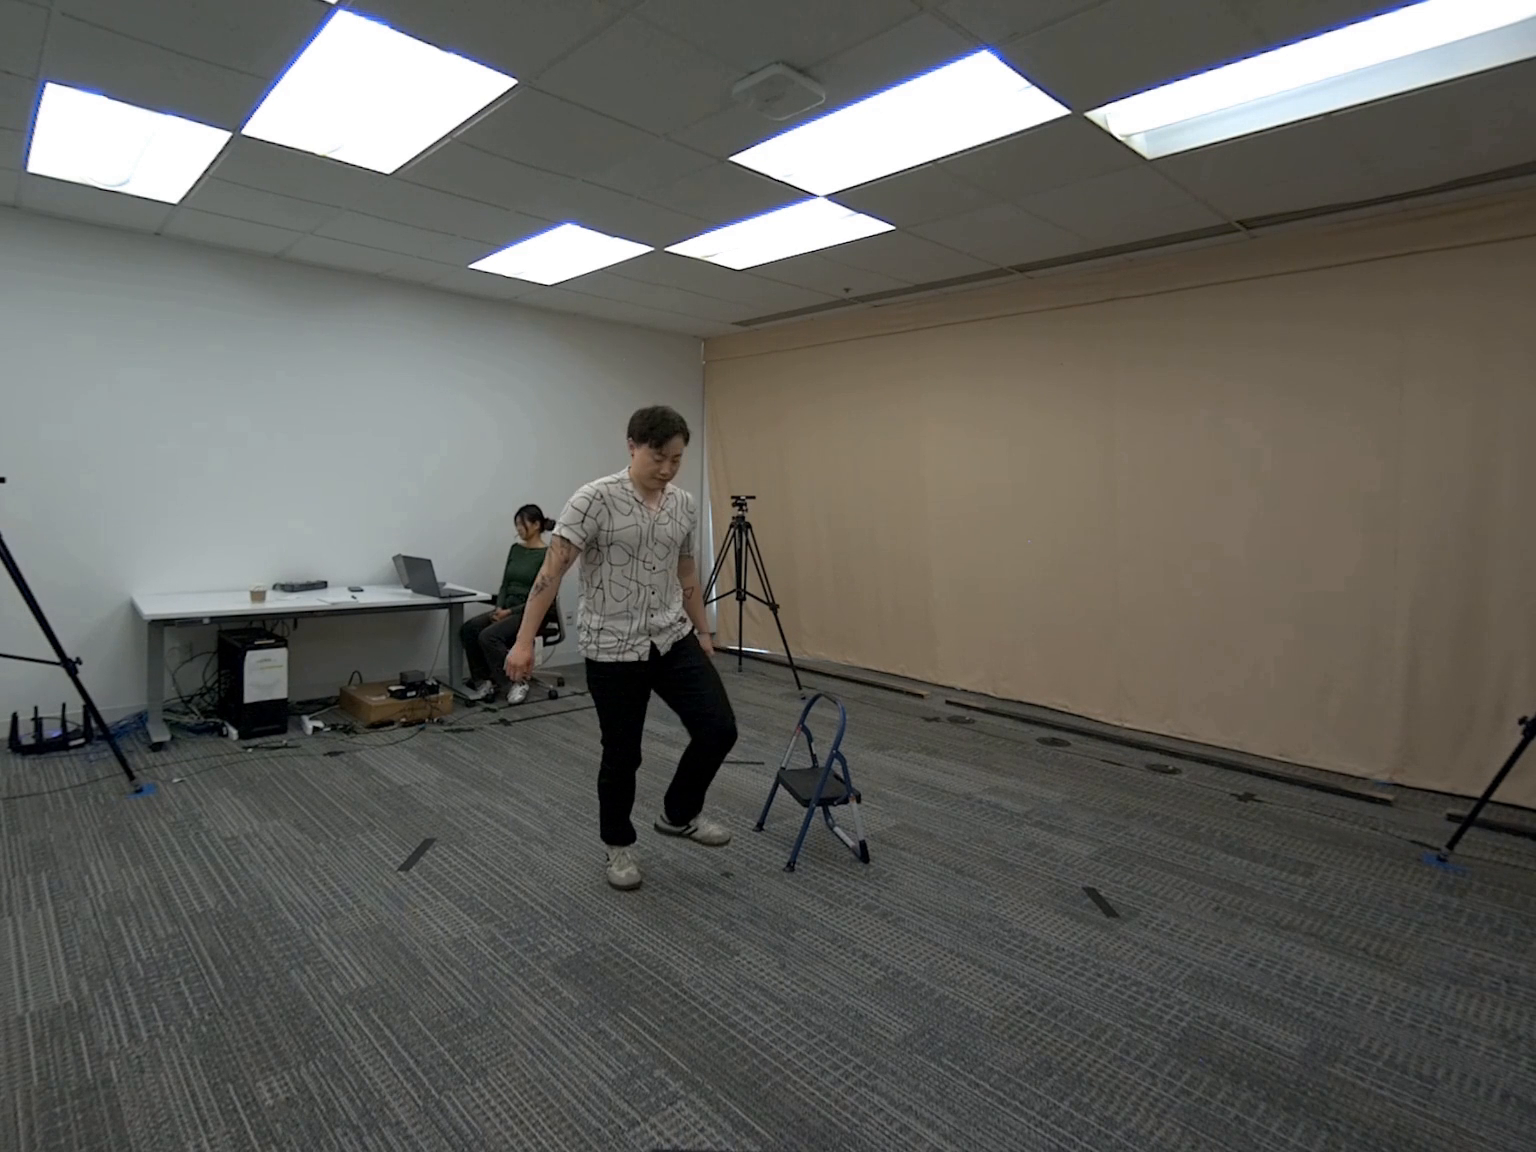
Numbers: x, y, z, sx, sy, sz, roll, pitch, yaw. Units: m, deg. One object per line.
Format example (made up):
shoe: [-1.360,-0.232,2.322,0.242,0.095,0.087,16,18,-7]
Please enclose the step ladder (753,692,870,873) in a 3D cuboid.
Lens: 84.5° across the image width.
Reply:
step ladder: [0.171,0.783,3.365,0.345,0.604,0.437,1,4,-17]
